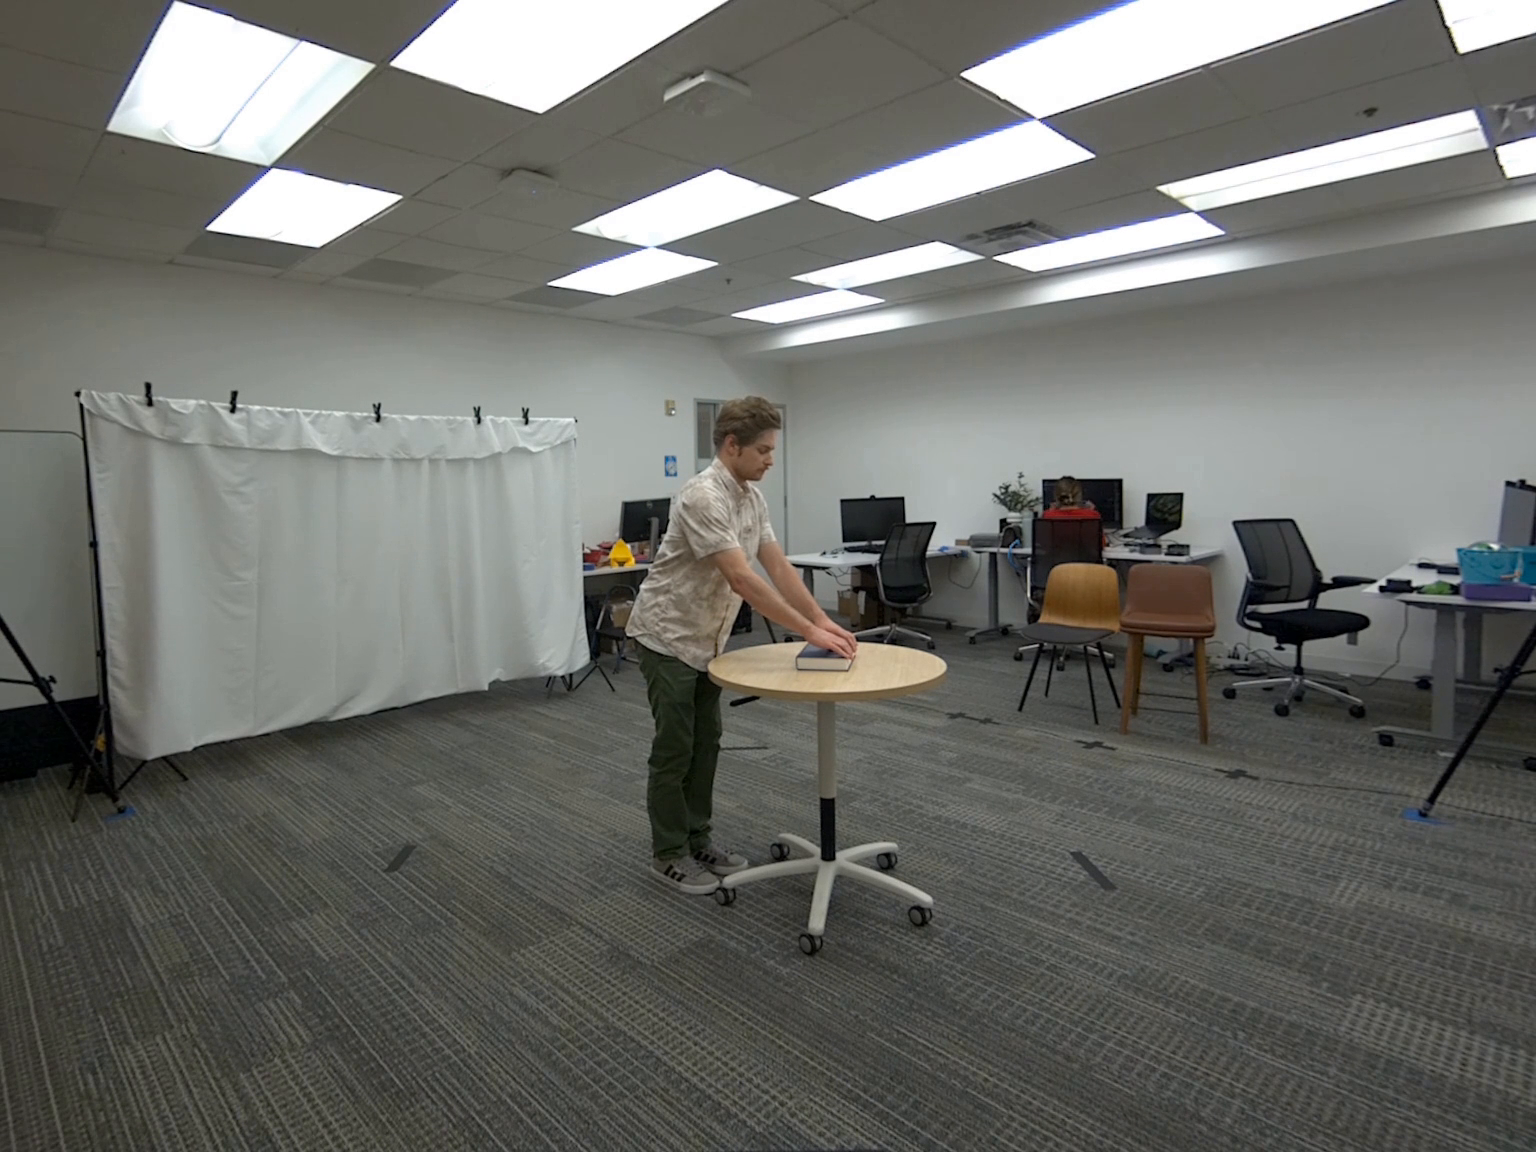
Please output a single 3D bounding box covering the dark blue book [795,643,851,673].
[{"bbox_3d":[0.197,0.261,2.775,0.165,0.045,0.243,-1,6,12],"label":"dark blue book"}]
